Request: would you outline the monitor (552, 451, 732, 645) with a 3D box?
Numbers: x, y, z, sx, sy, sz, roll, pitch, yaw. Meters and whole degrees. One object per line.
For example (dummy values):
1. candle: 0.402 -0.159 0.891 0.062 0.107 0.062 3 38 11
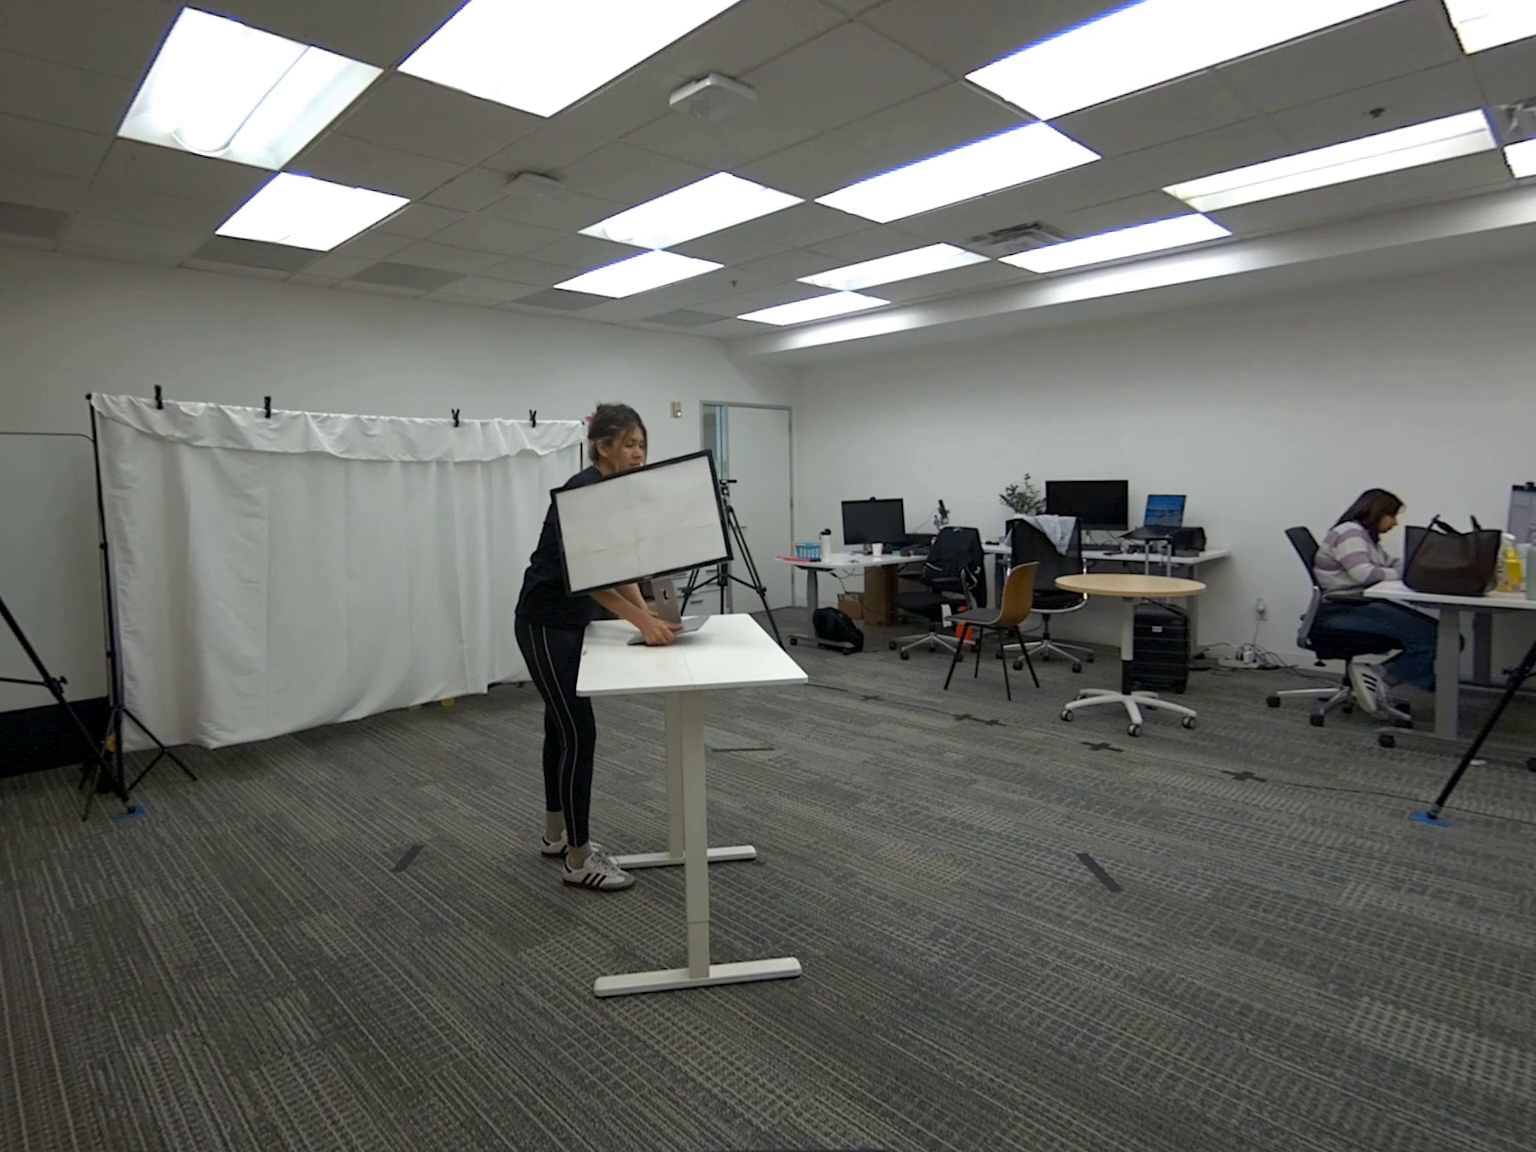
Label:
1. monitor: -0.377 -0.076 2.758 0.543 0.522 0.186 -14 1 11
